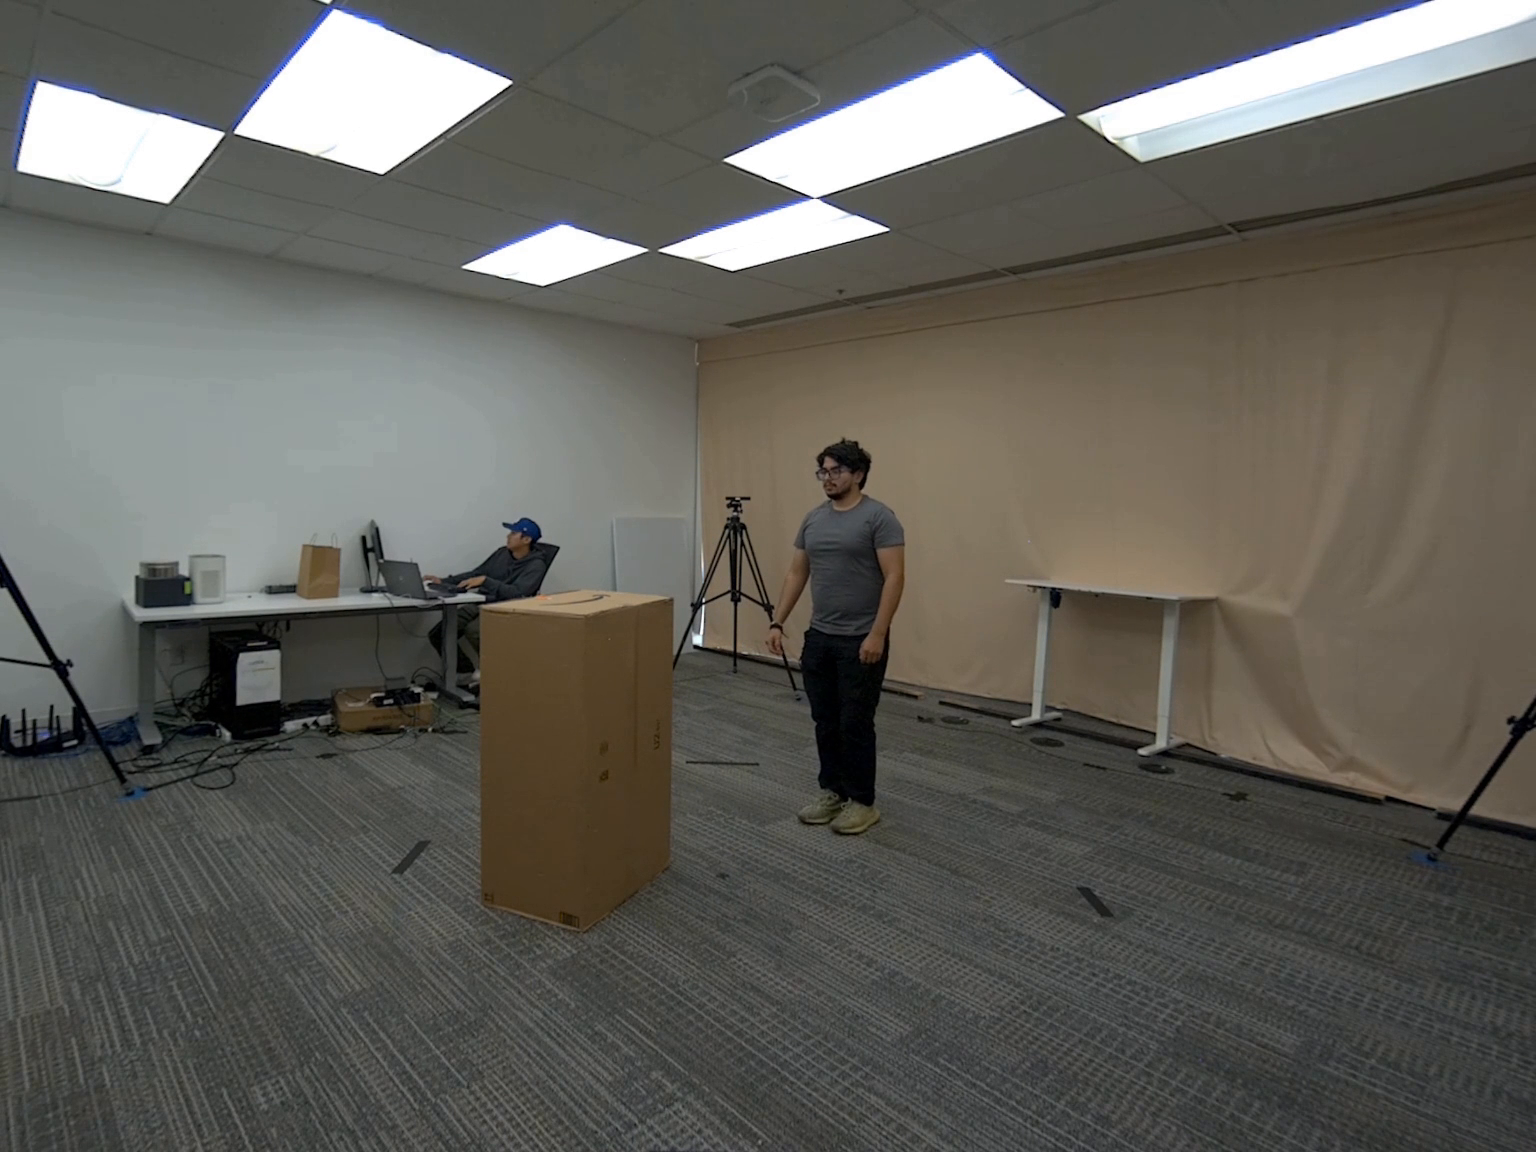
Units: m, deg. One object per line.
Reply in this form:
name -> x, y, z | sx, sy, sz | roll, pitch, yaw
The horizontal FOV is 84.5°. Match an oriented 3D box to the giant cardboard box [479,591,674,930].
giant cardboard box -> -0.670, 0.597, 2.986 | 0.434, 1.023, 0.568 | 3, 4, 25
